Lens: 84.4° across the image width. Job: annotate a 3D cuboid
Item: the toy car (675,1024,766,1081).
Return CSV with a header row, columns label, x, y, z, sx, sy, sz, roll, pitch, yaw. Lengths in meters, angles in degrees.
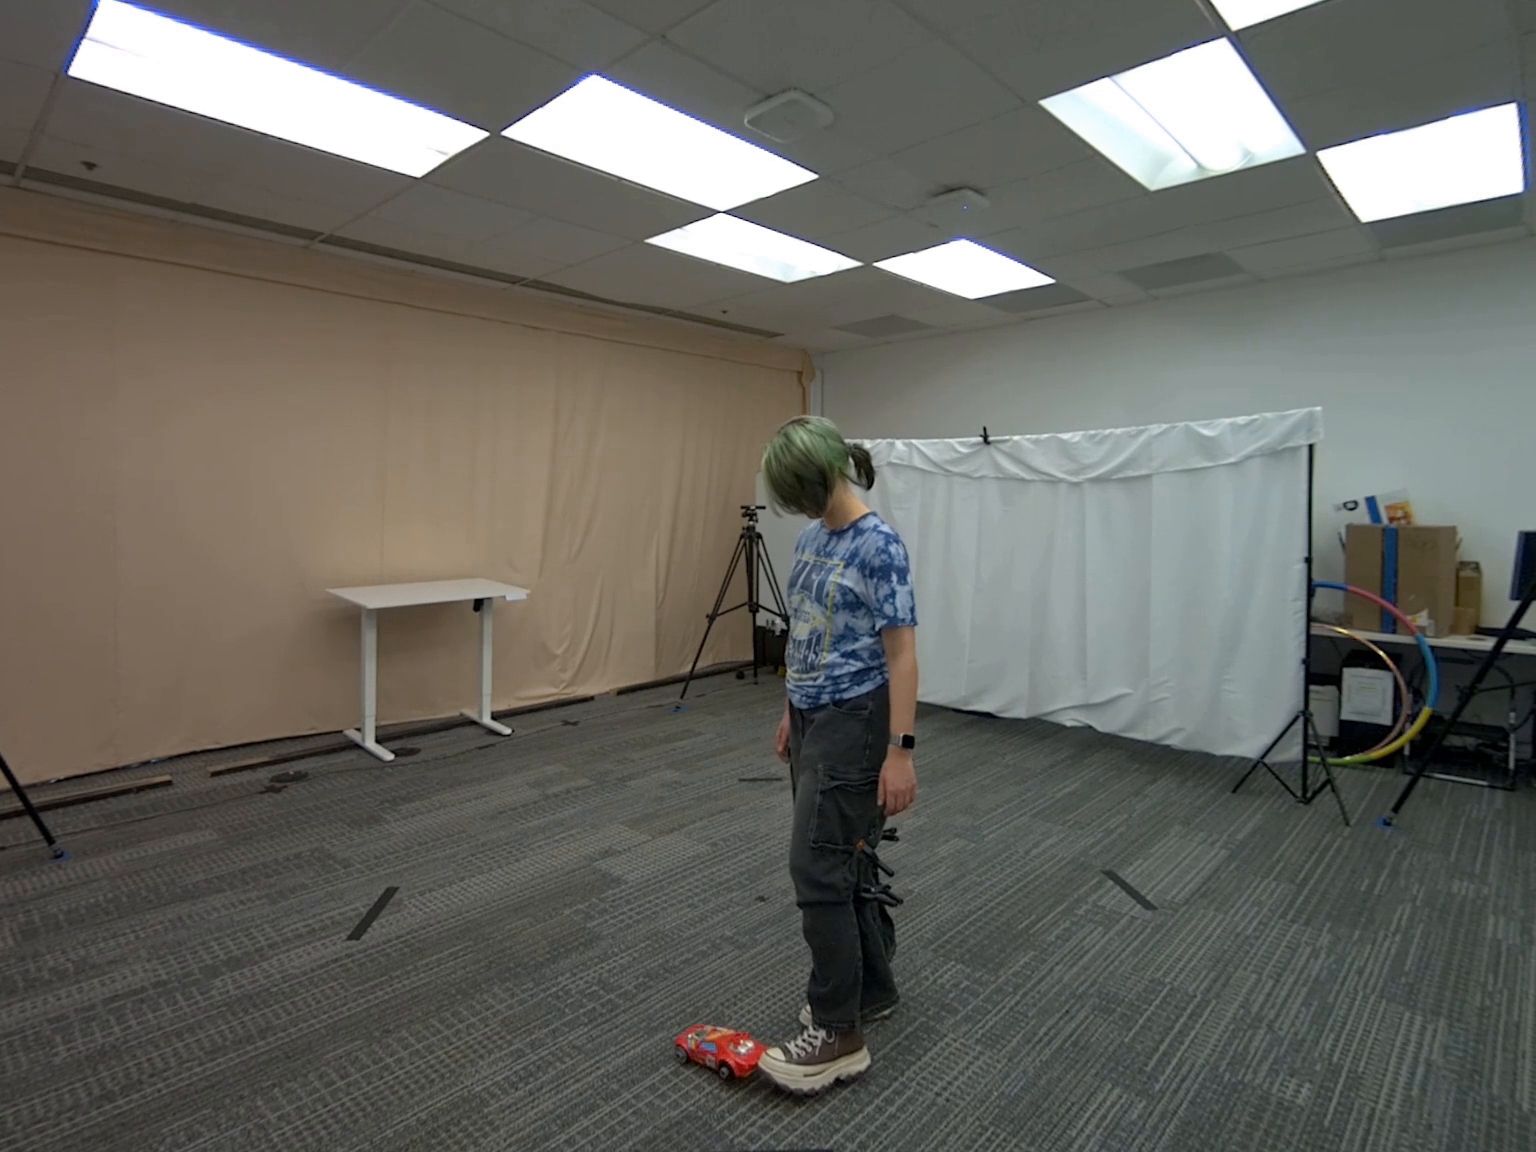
label,x,y,z,sx,sy,sz,roll,pitch,yaw
toy car,-0.107,1.179,2.086,0.261,0.084,0.126,-18,-8,40
